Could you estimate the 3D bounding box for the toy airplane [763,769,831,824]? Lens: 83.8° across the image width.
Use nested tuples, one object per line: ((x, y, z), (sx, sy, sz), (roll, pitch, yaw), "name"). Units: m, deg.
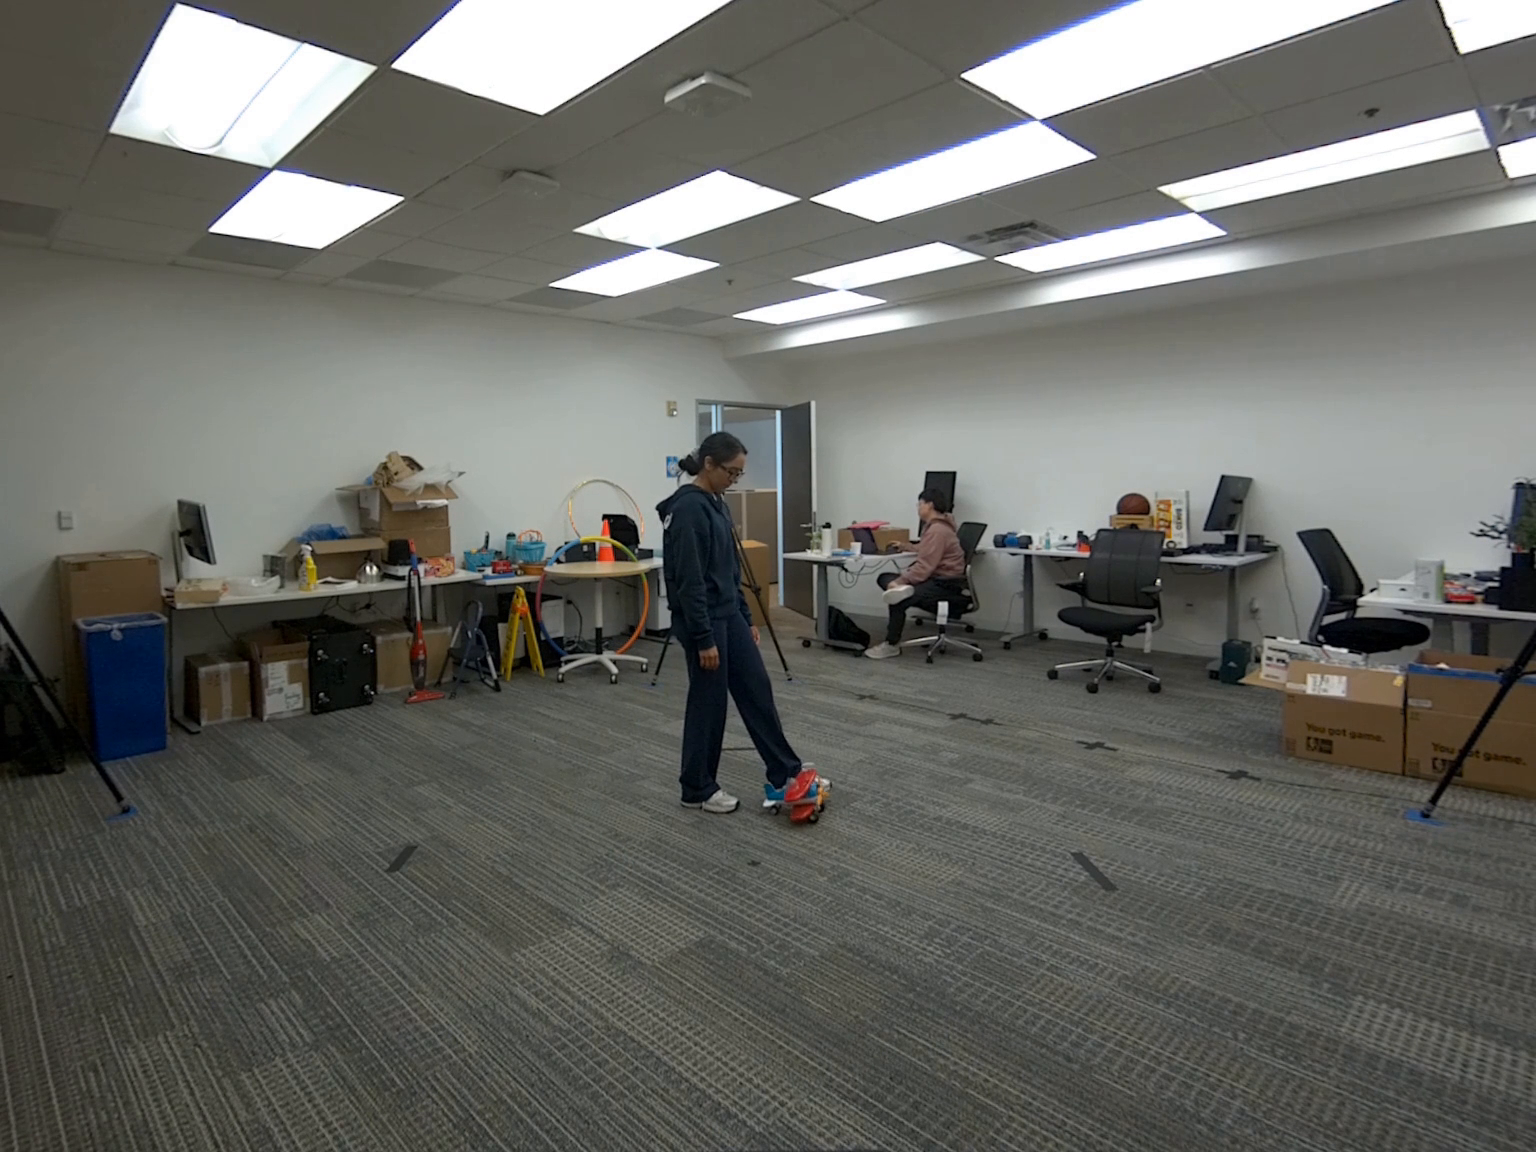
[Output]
((0.109, 0.921, 3.511), (0.258, 0.155, 0.254), (-4, 11, -5), "toy airplane")
